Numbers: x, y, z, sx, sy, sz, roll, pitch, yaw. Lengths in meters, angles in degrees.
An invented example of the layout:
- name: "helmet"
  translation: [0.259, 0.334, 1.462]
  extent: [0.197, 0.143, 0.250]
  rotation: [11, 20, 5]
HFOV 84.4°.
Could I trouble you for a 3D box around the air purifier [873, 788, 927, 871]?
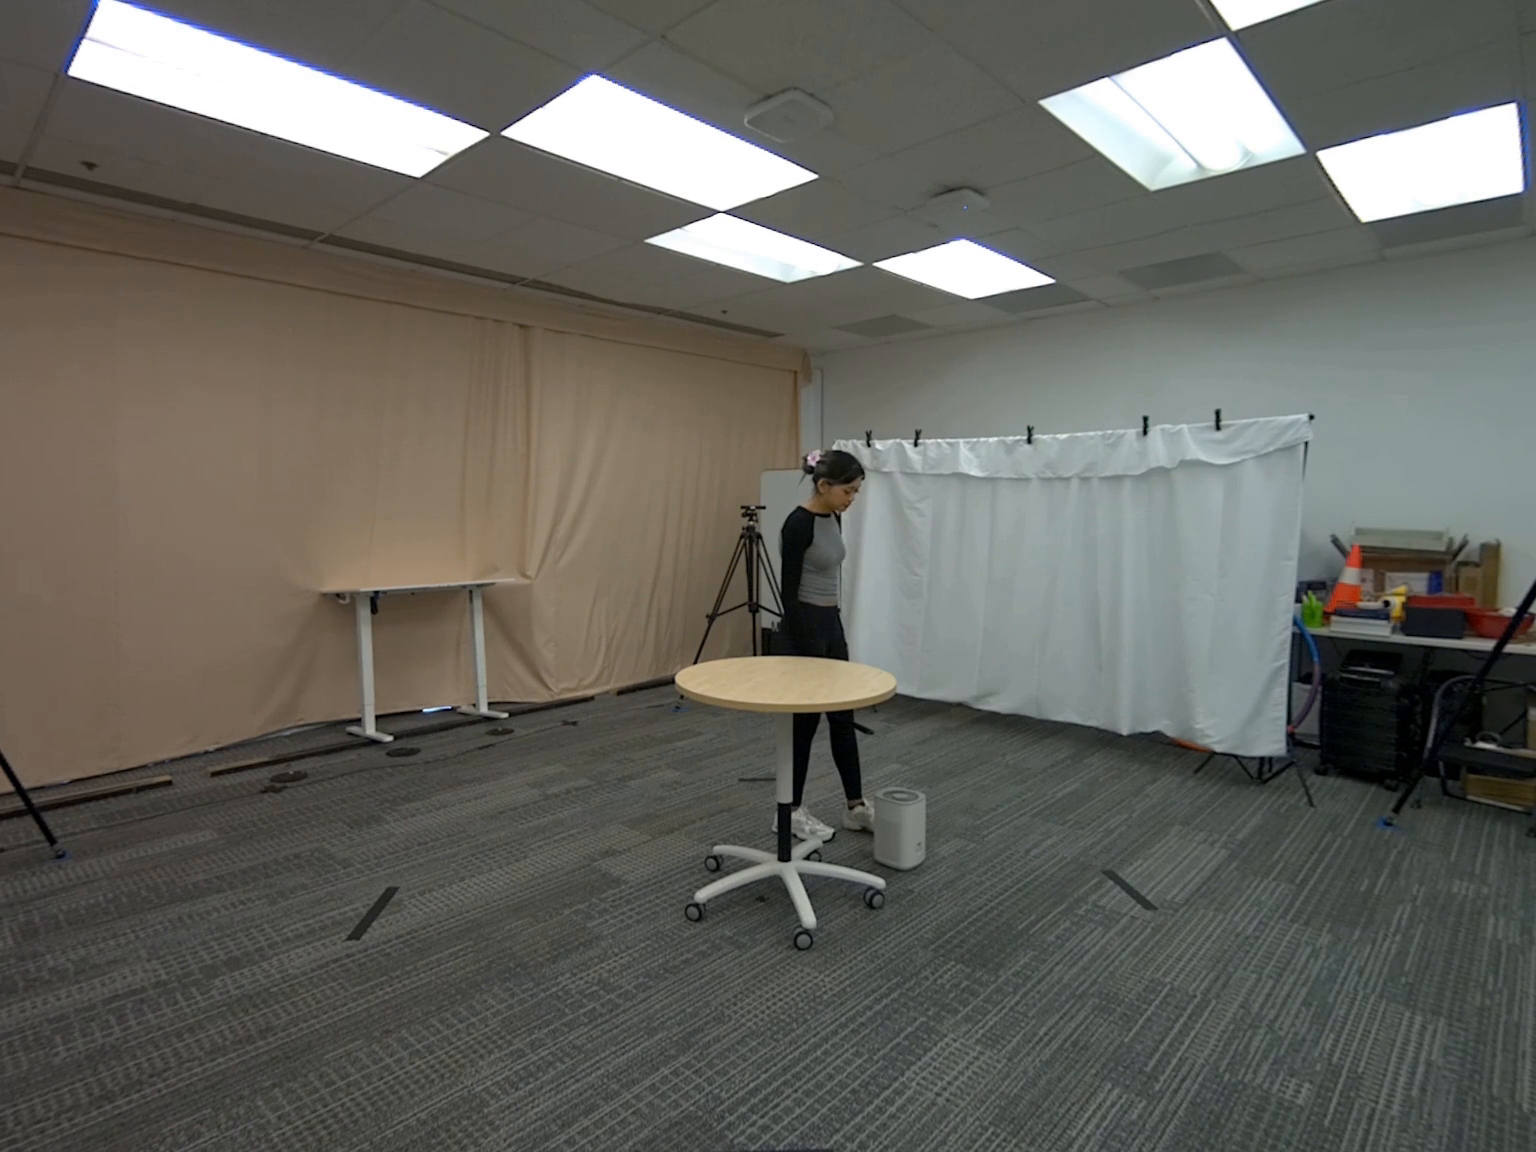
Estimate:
- name: "air purifier"
  translation: [0.519, 0.983, 3.284]
  extent: [0.177, 0.265, 0.166]
  rotation: [3, 4, 39]
